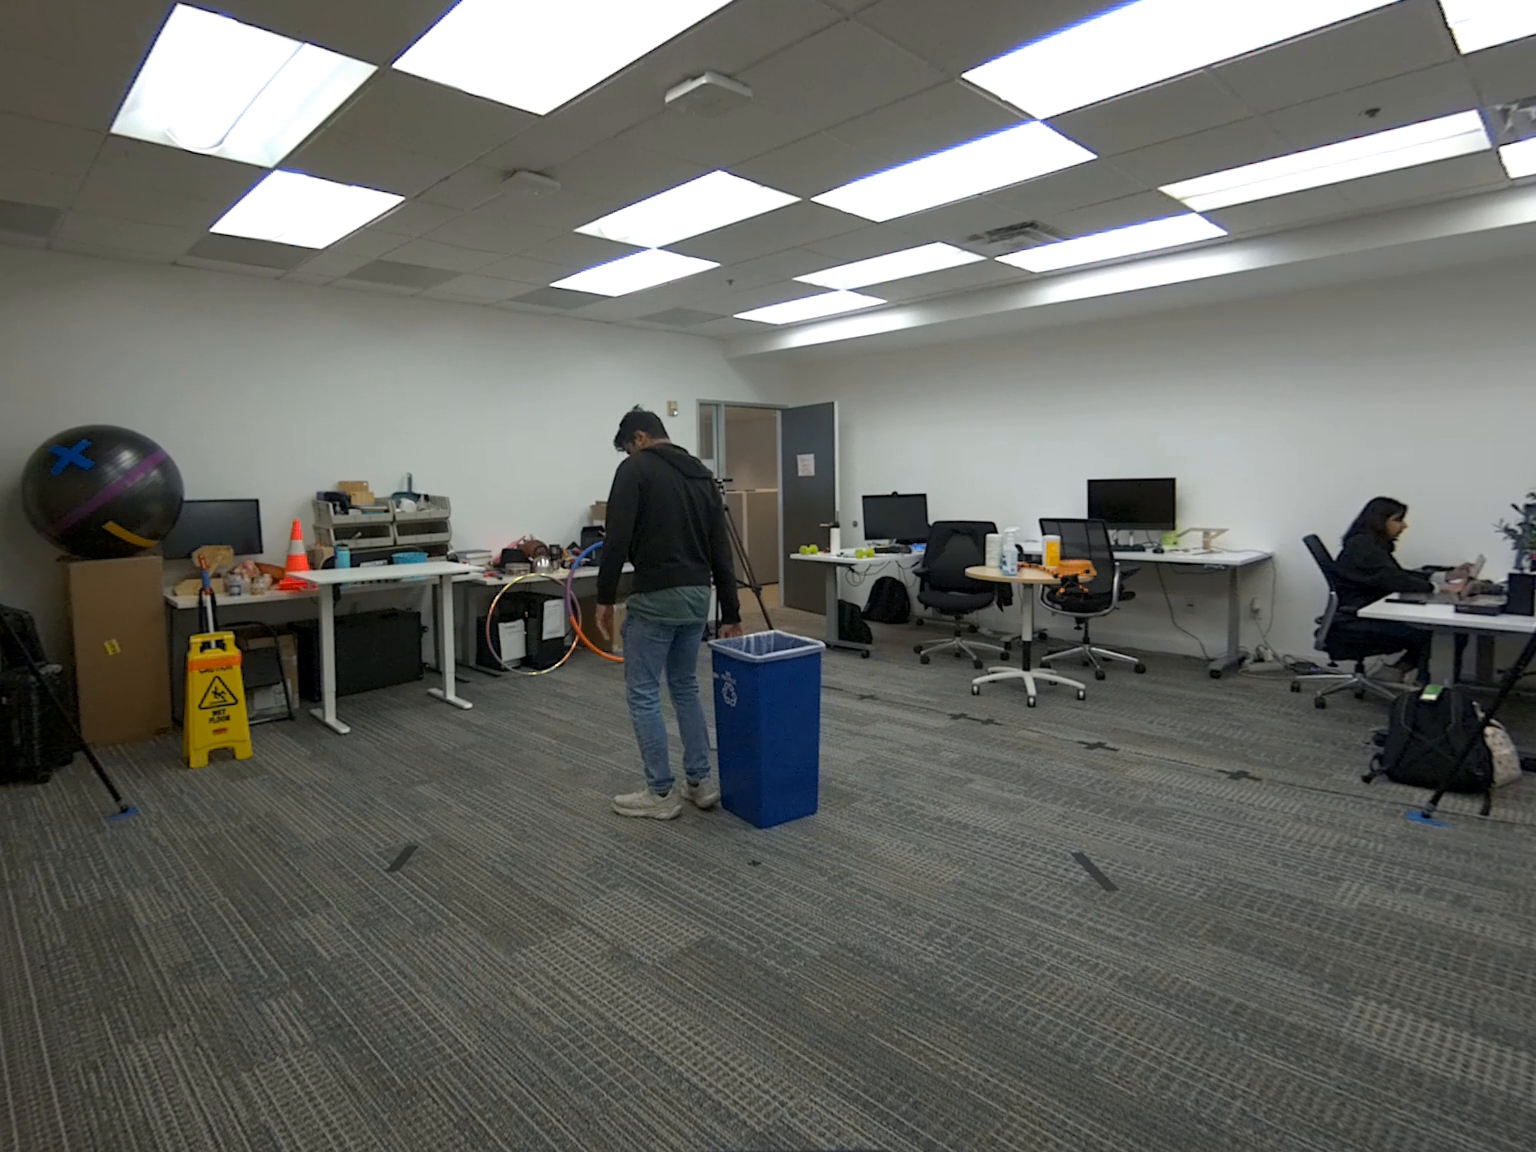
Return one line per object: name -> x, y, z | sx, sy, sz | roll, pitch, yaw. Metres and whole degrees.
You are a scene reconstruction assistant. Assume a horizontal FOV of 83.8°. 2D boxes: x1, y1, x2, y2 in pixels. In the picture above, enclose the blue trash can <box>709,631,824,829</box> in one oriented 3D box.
blue trash can -> -0.001, 0.629, 3.566 | 0.364, 0.710, 0.389 | -4, 6, -36
